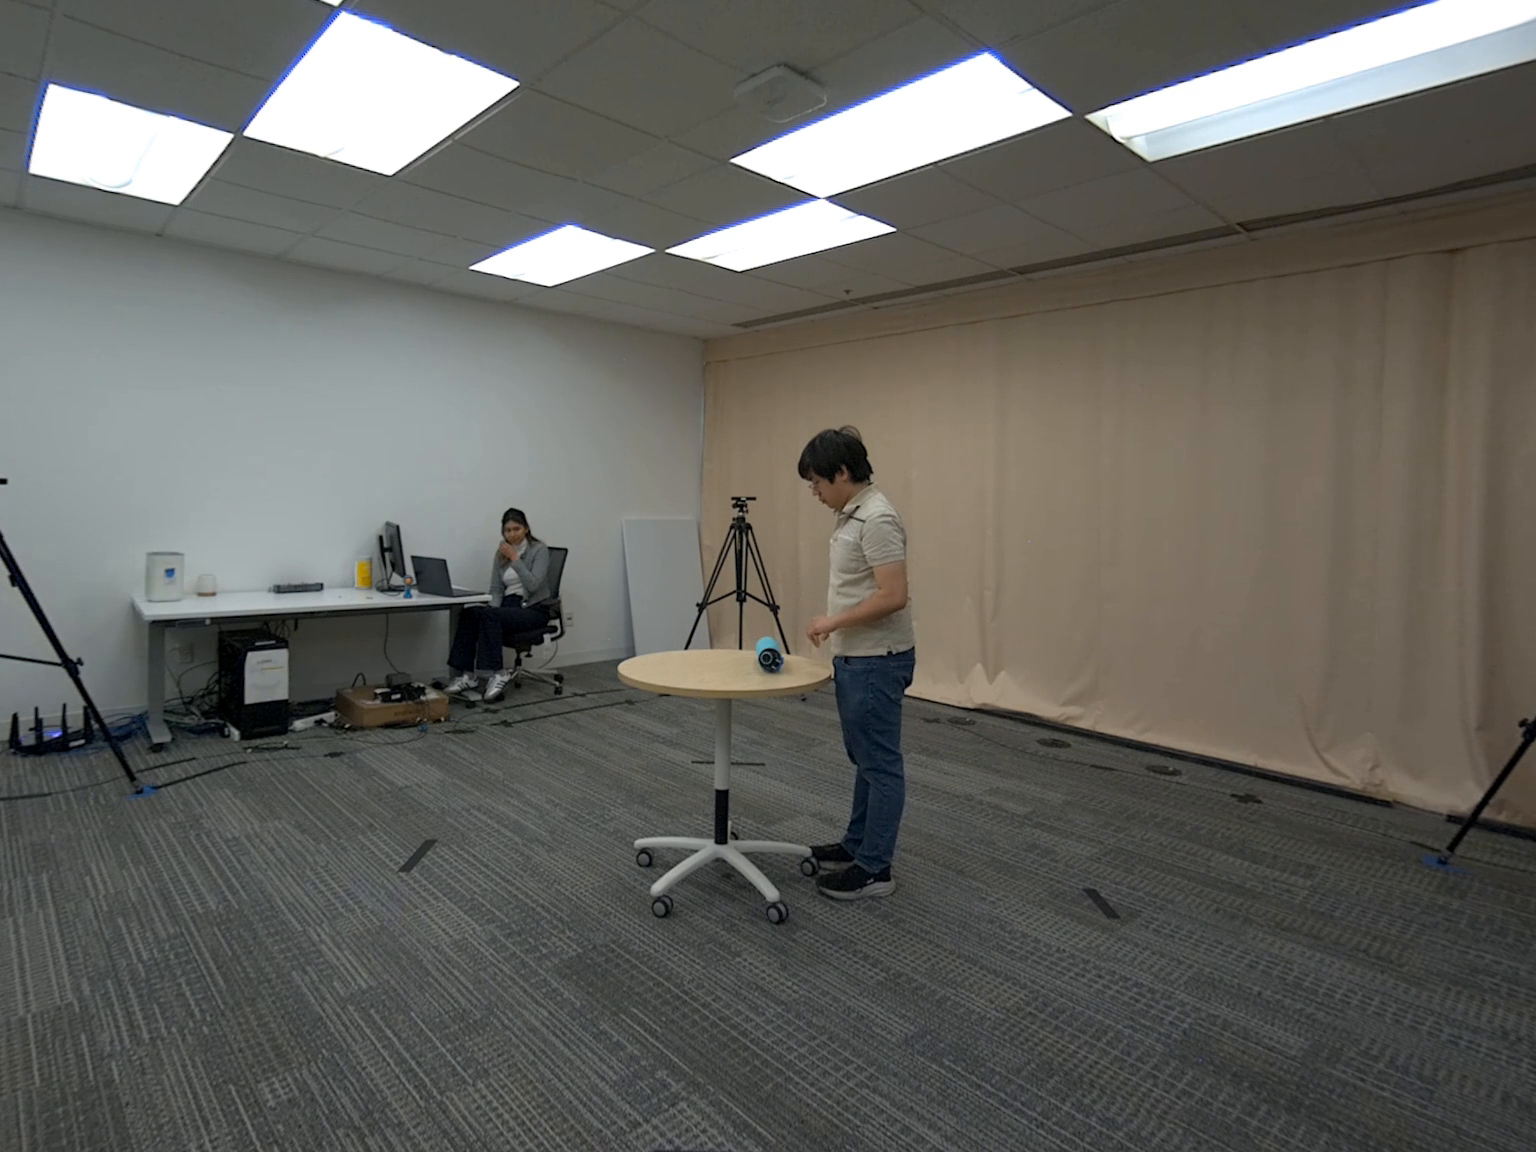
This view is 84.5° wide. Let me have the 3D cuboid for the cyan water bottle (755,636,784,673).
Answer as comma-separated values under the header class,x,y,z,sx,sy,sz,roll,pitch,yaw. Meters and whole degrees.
class,x,y,z,sx,sy,sz,roll,pitch,yaw
cyan water bottle,0.000,0.283,3.054,0.092,0.092,0.284,1,4,-2
